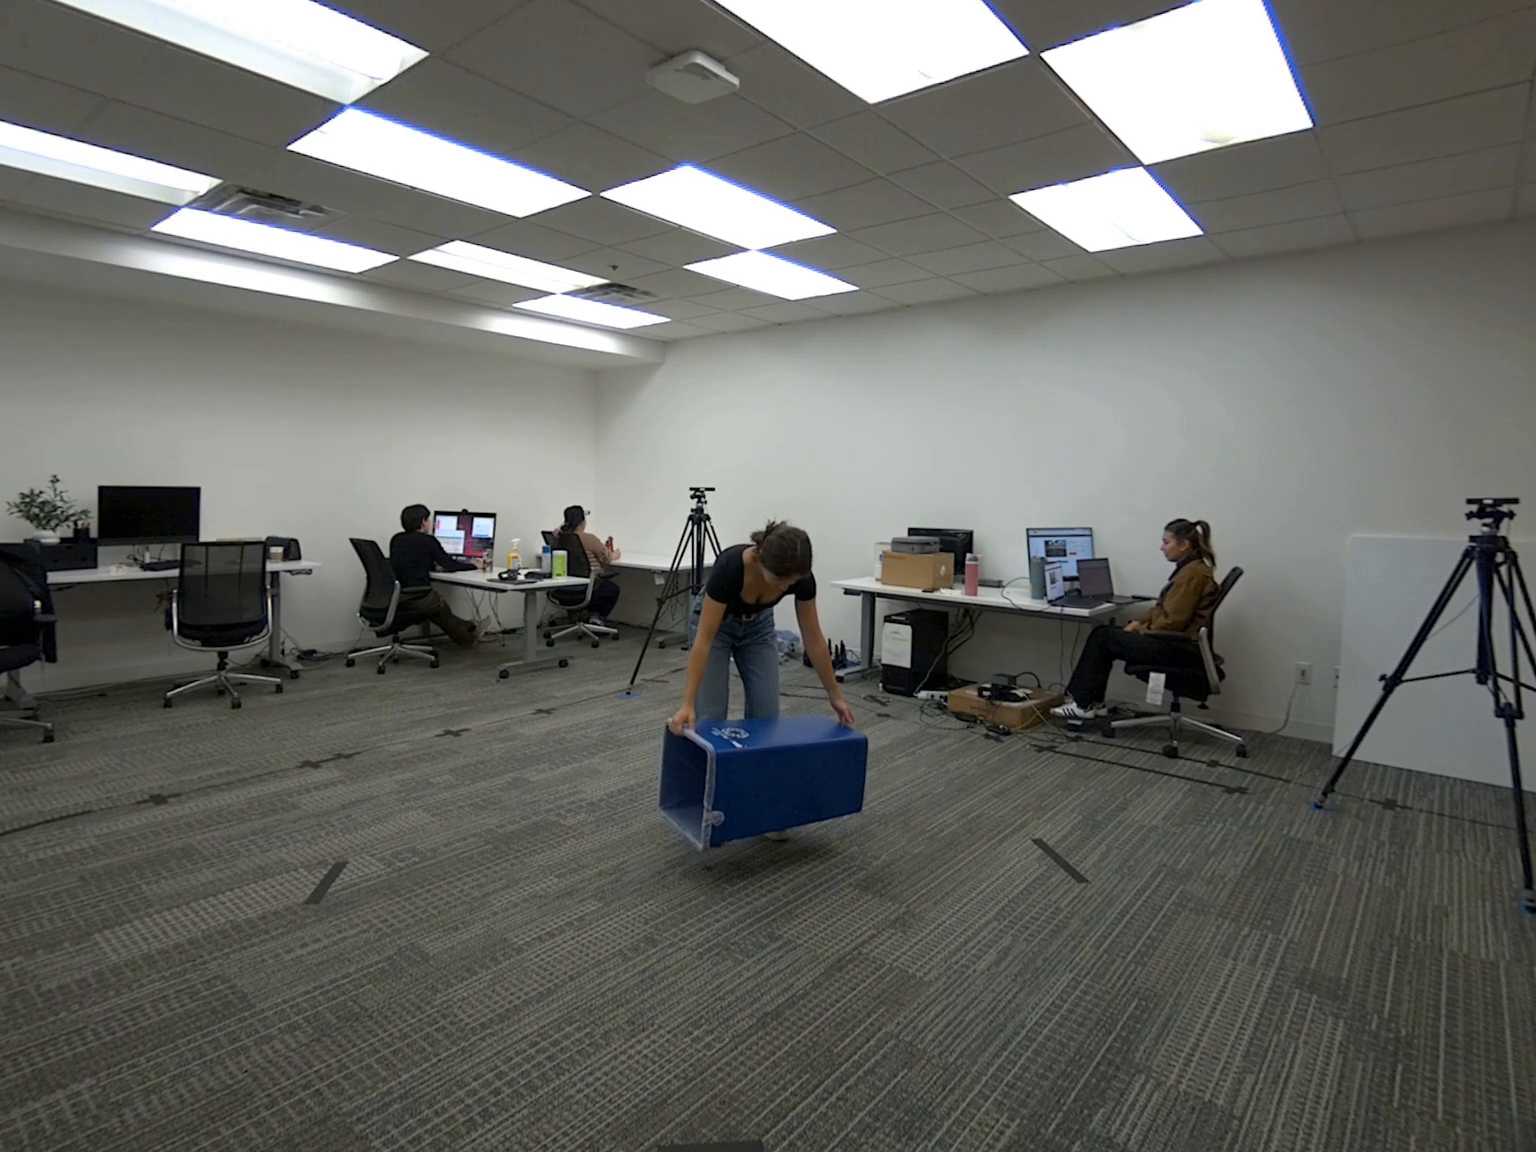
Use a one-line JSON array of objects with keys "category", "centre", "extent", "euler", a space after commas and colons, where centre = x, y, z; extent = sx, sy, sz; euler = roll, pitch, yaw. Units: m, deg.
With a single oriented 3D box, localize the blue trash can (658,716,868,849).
[{"category": "blue trash can", "centre": [-0.010, 0.739, 3.190], "extent": [0.694, 0.373, 0.390], "euler": [2, 5, -30]}]
